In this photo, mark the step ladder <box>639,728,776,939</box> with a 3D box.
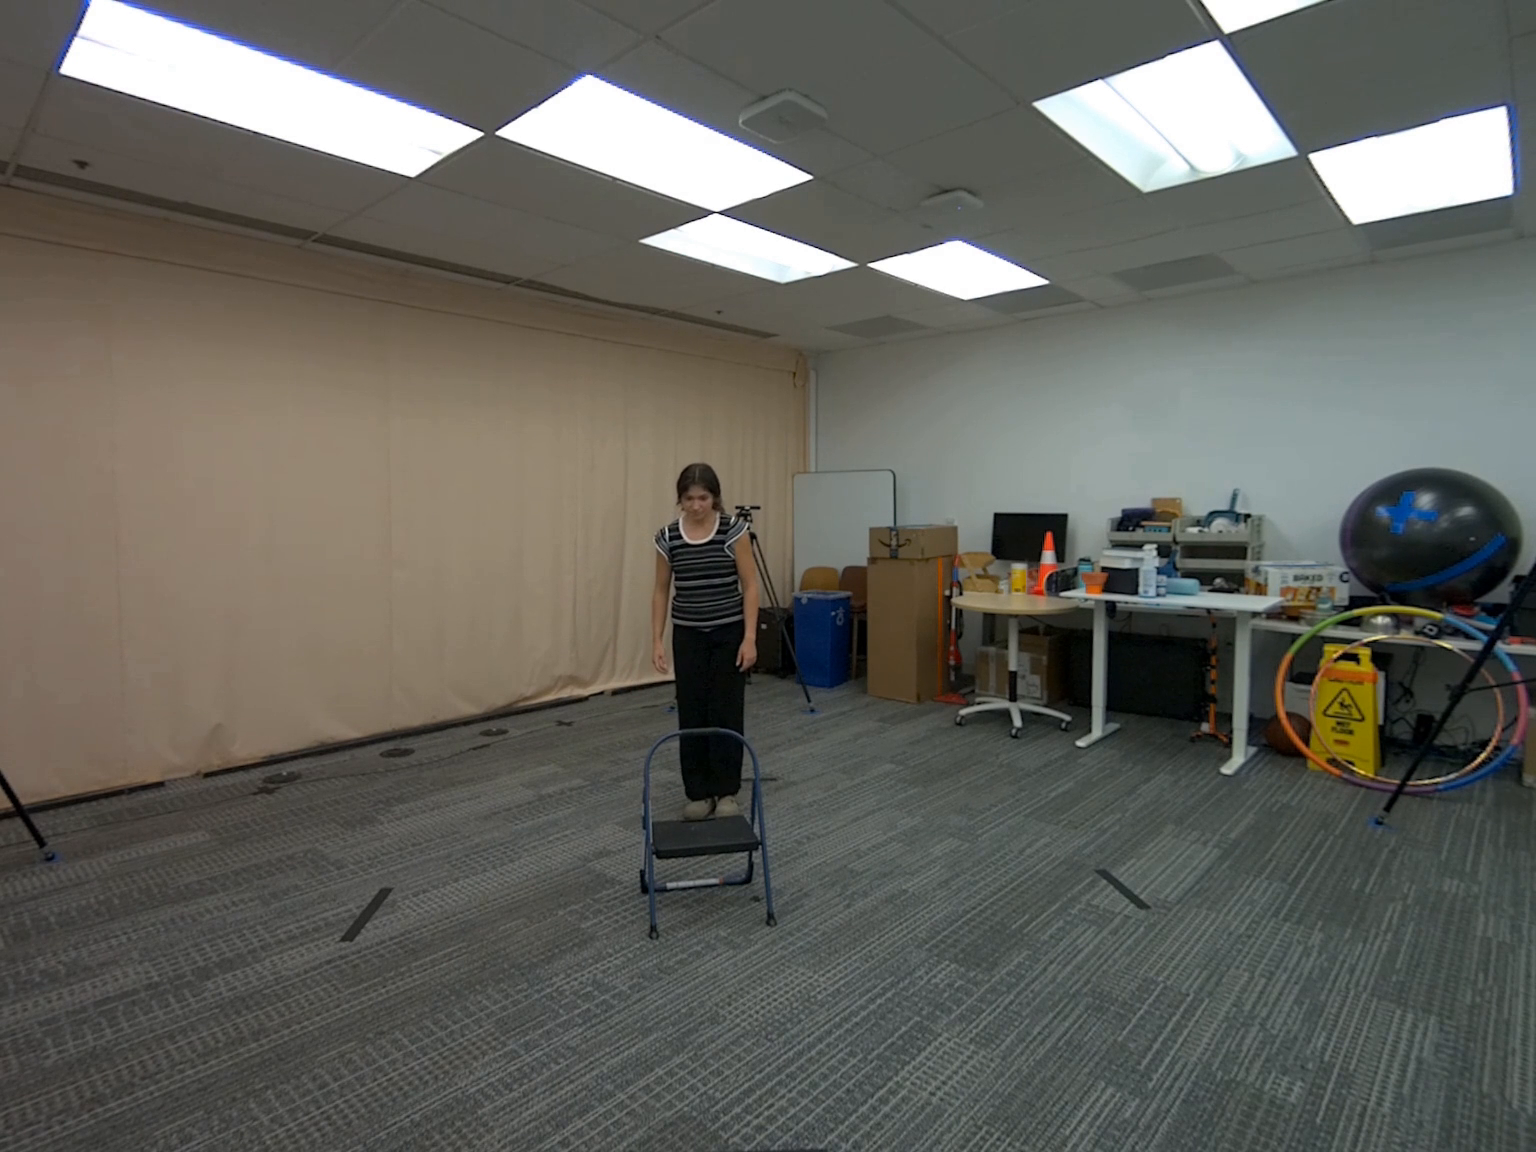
[{"bbox_3d":[-0.218,0.847,2.915,0.425,0.605,0.355,-1,3,-13],"label":"step ladder"}]
